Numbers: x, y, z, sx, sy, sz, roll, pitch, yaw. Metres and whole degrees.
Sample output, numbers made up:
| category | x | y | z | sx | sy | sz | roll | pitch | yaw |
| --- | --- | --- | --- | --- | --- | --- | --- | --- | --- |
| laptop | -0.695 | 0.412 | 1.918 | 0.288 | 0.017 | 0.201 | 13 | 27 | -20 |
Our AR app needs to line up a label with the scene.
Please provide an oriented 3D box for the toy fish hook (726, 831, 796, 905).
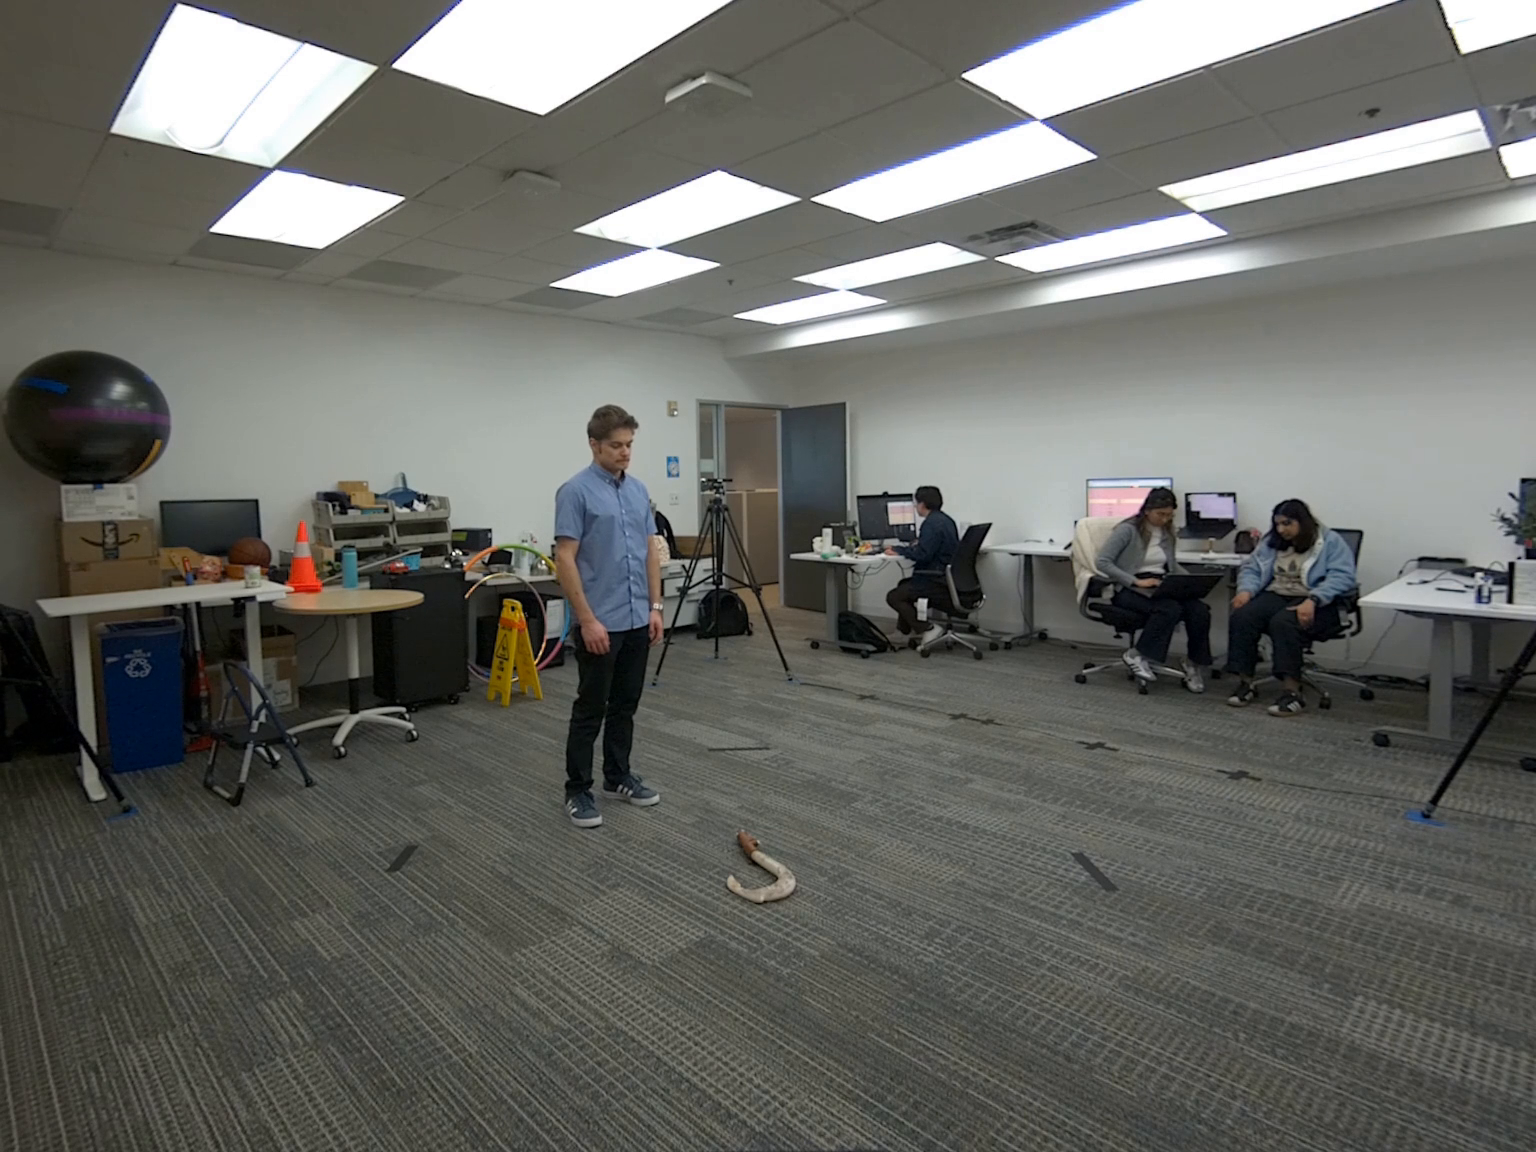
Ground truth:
| category | x | y | z | sx | sy | sz | roll | pitch | yaw |
| --- | --- | --- | --- | --- | --- | --- | --- | --- | --- |
| toy fish hook | -0.065 | 1.028 | 3.052 | 0.221 | 0.048 | 0.517 | -3 | 6 | -19 |
